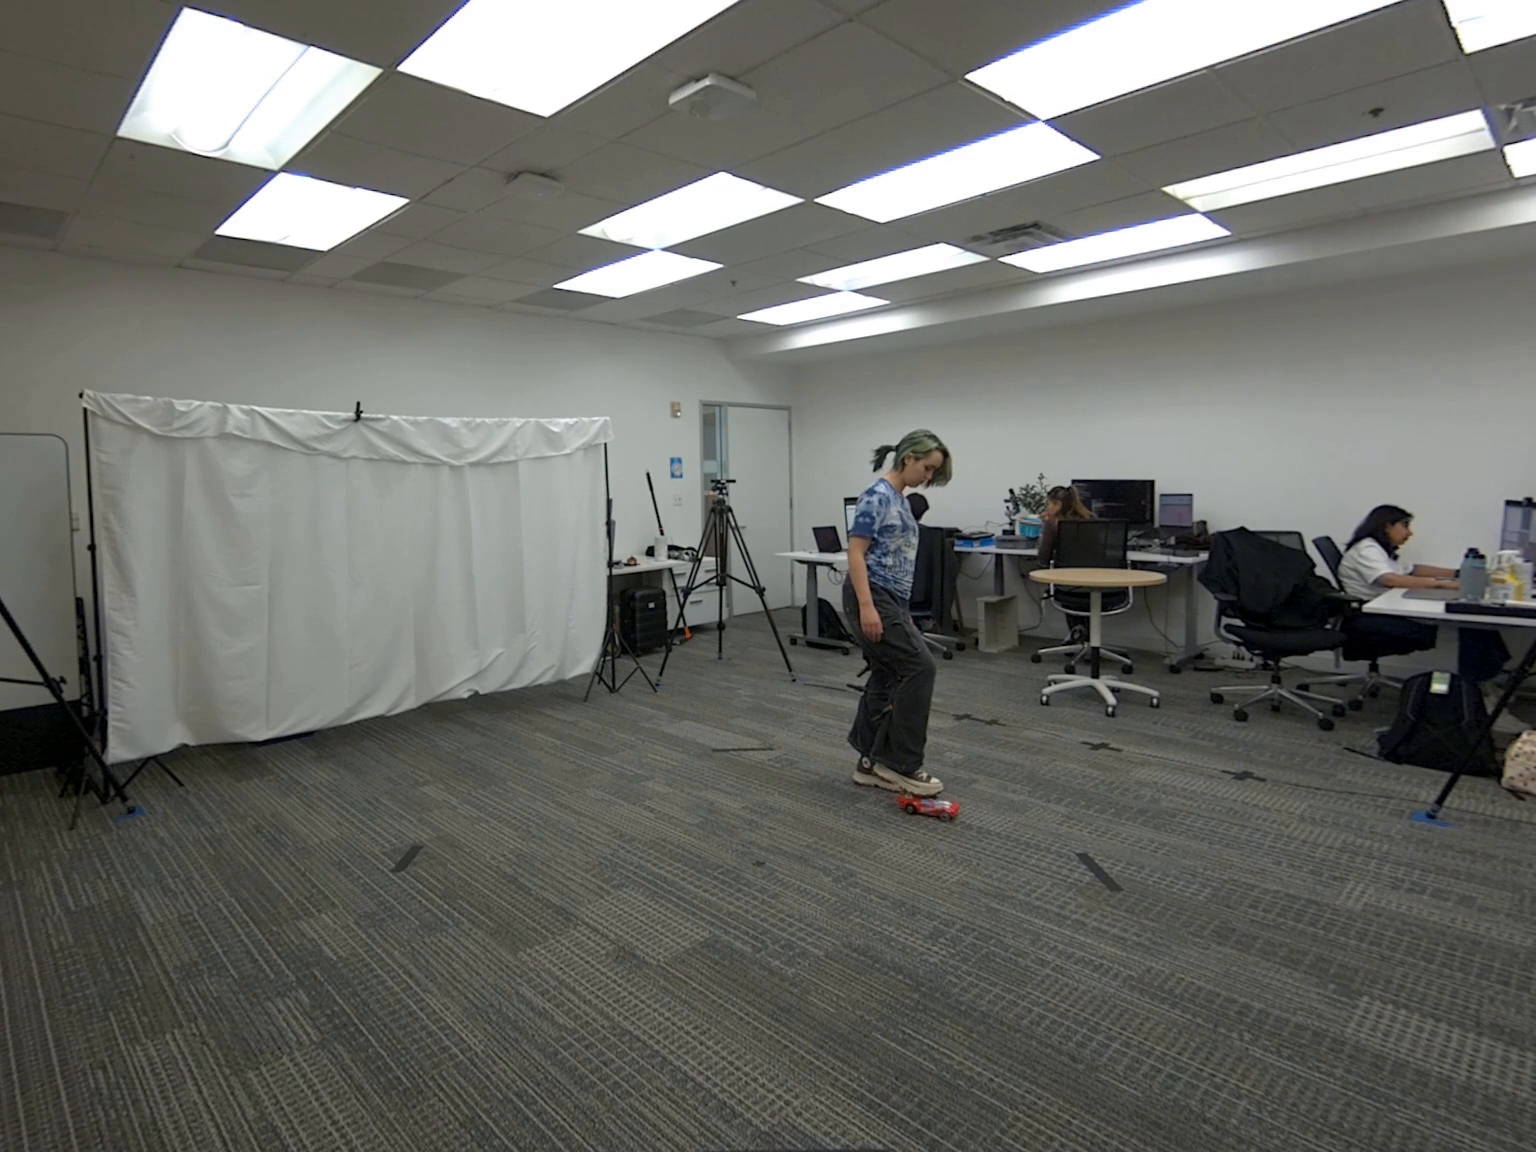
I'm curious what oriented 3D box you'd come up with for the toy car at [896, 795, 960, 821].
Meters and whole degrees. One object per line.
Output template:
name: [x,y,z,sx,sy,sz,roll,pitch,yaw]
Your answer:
toy car: [0.665,0.959,3.559,0.262,0.082,0.127,14,12,30]
